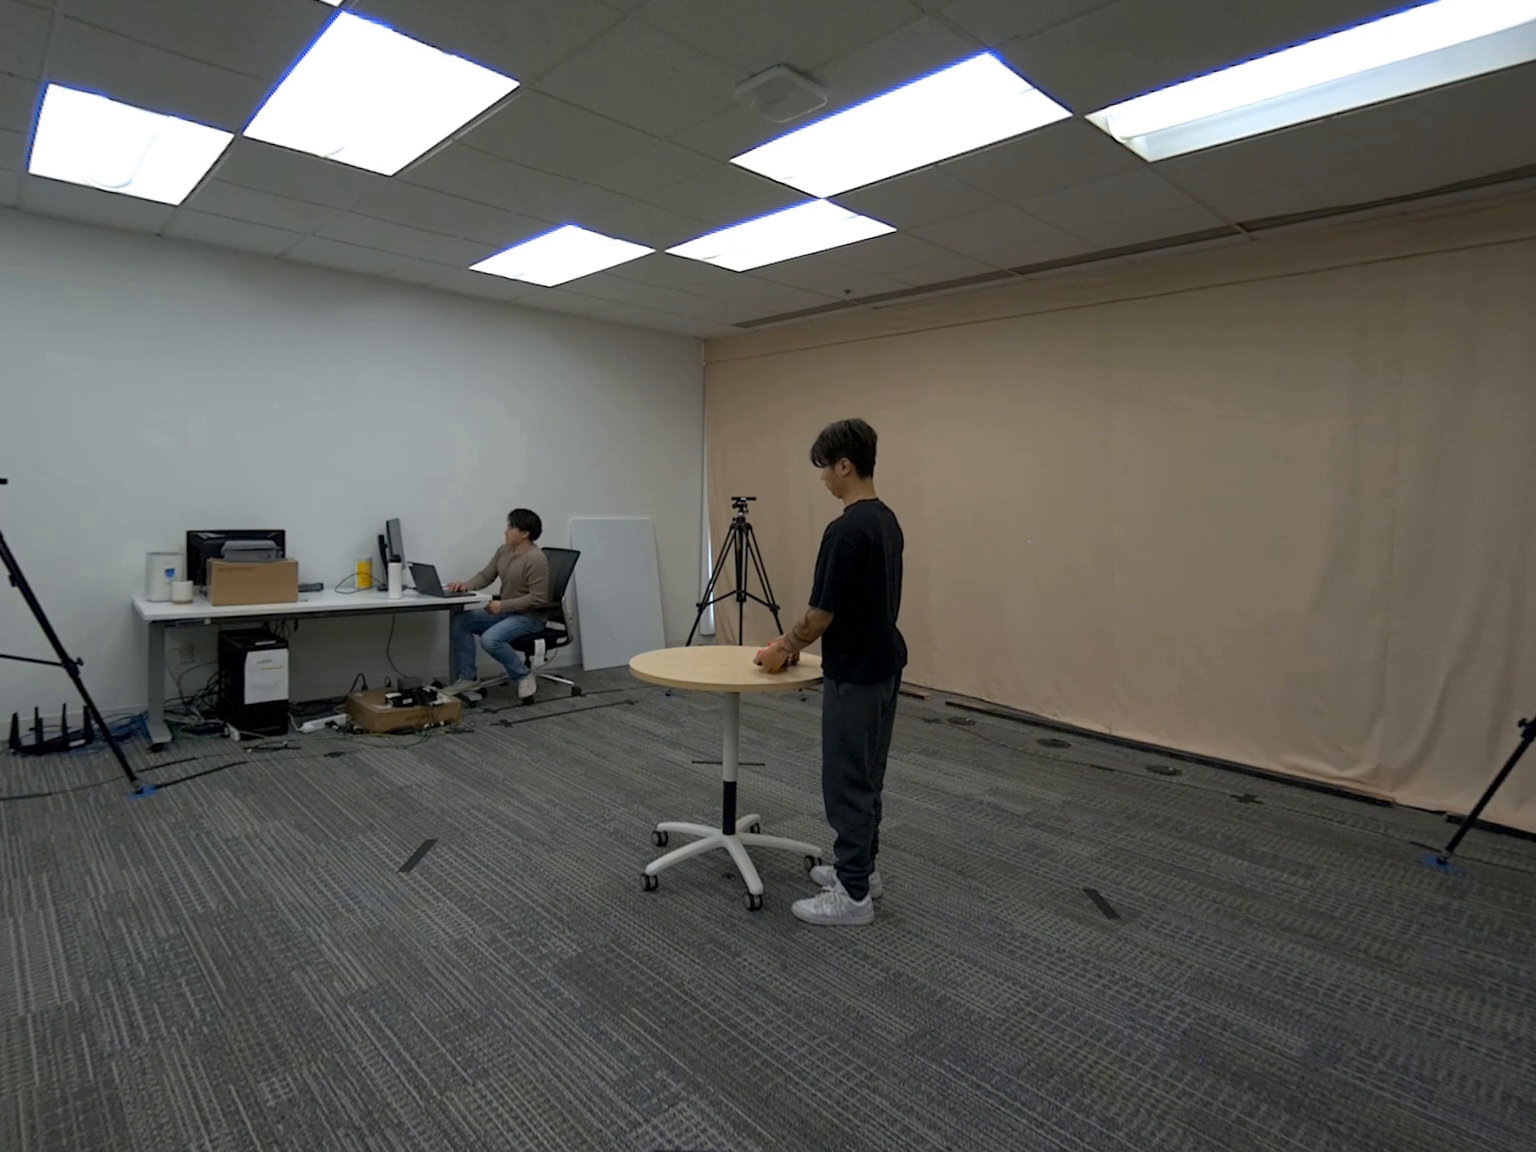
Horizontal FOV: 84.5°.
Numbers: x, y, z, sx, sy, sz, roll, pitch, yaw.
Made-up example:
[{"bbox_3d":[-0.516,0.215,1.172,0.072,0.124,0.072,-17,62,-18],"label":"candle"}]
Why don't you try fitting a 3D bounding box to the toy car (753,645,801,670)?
[{"bbox_3d":[0.027,0.295,3.037,0.132,0.084,0.249,2,-11,15],"label":"toy car"}]
